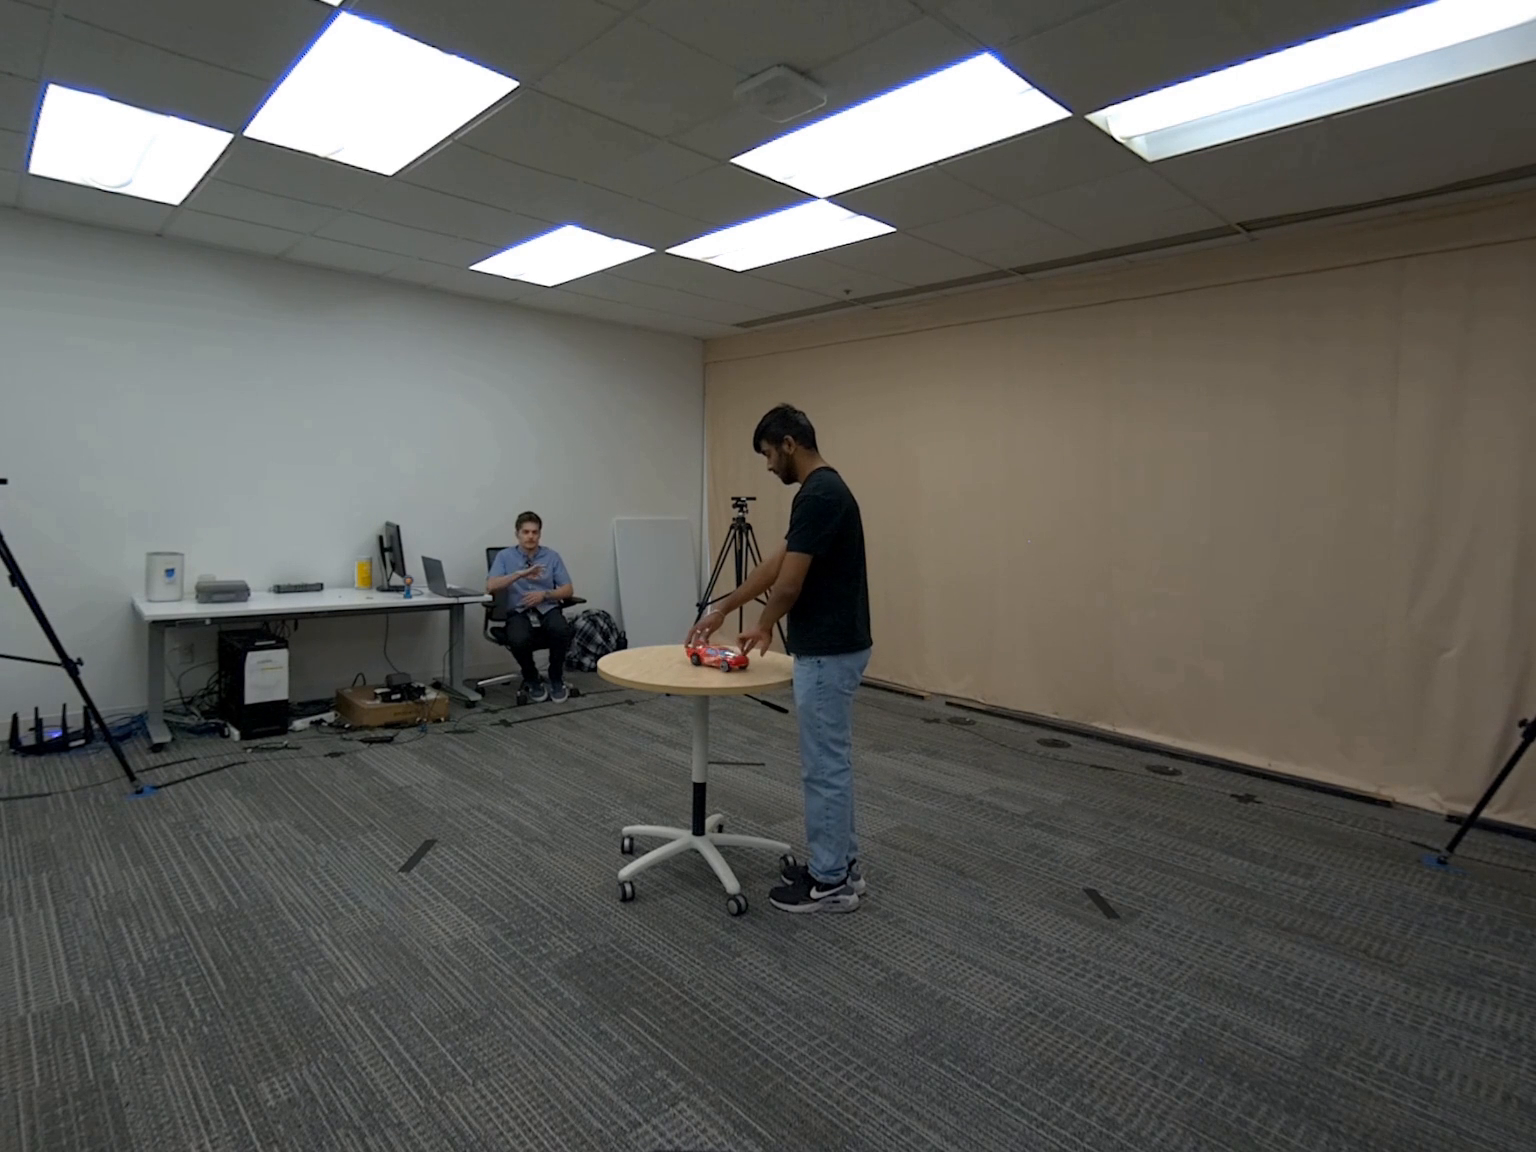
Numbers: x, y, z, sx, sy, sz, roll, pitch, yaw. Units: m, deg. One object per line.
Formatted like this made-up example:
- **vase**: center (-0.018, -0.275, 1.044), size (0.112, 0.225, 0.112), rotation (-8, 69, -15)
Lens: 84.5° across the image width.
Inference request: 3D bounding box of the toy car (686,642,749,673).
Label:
- **toy car**: center (-0.193, 0.296, 3.055), size (0.262, 0.083, 0.127), rotation (20, 13, 40)
